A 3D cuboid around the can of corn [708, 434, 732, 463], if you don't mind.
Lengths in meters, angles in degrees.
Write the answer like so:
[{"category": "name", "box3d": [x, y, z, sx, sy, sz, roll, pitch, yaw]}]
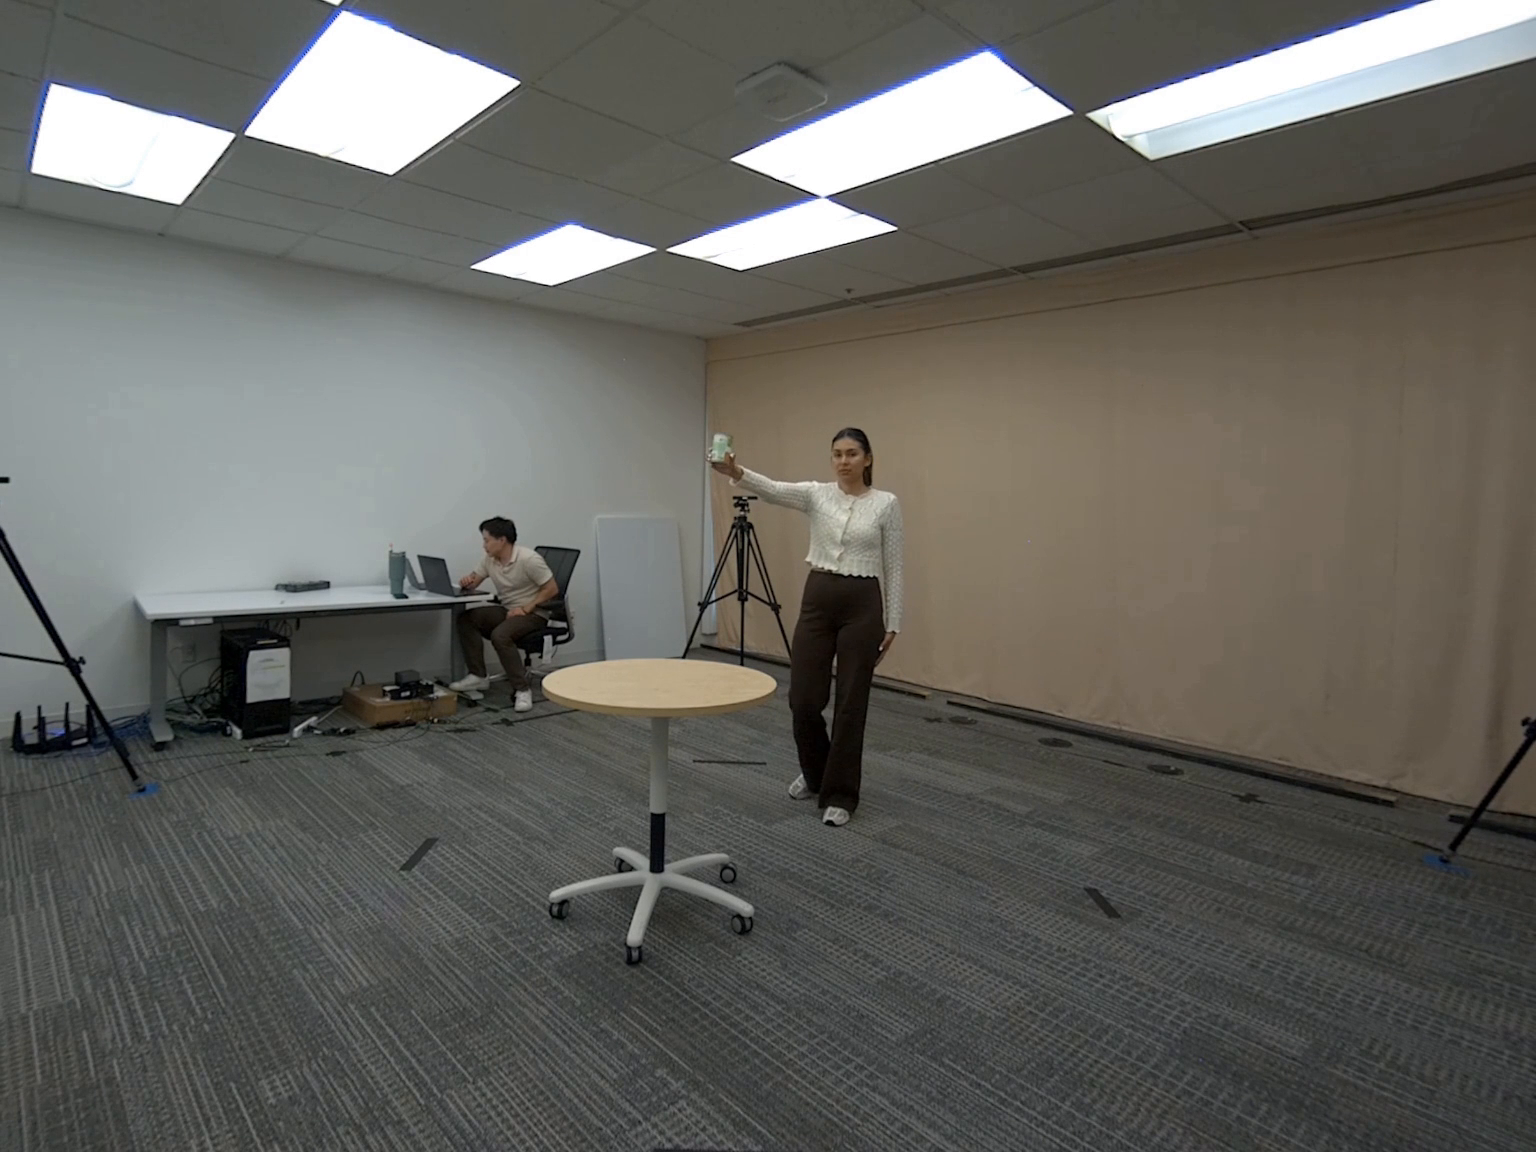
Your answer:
[{"category": "can of corn", "box3d": [-0.181, -0.487, 3.242, 0.074, 0.111, 0.074, 7, -4, -1]}]
